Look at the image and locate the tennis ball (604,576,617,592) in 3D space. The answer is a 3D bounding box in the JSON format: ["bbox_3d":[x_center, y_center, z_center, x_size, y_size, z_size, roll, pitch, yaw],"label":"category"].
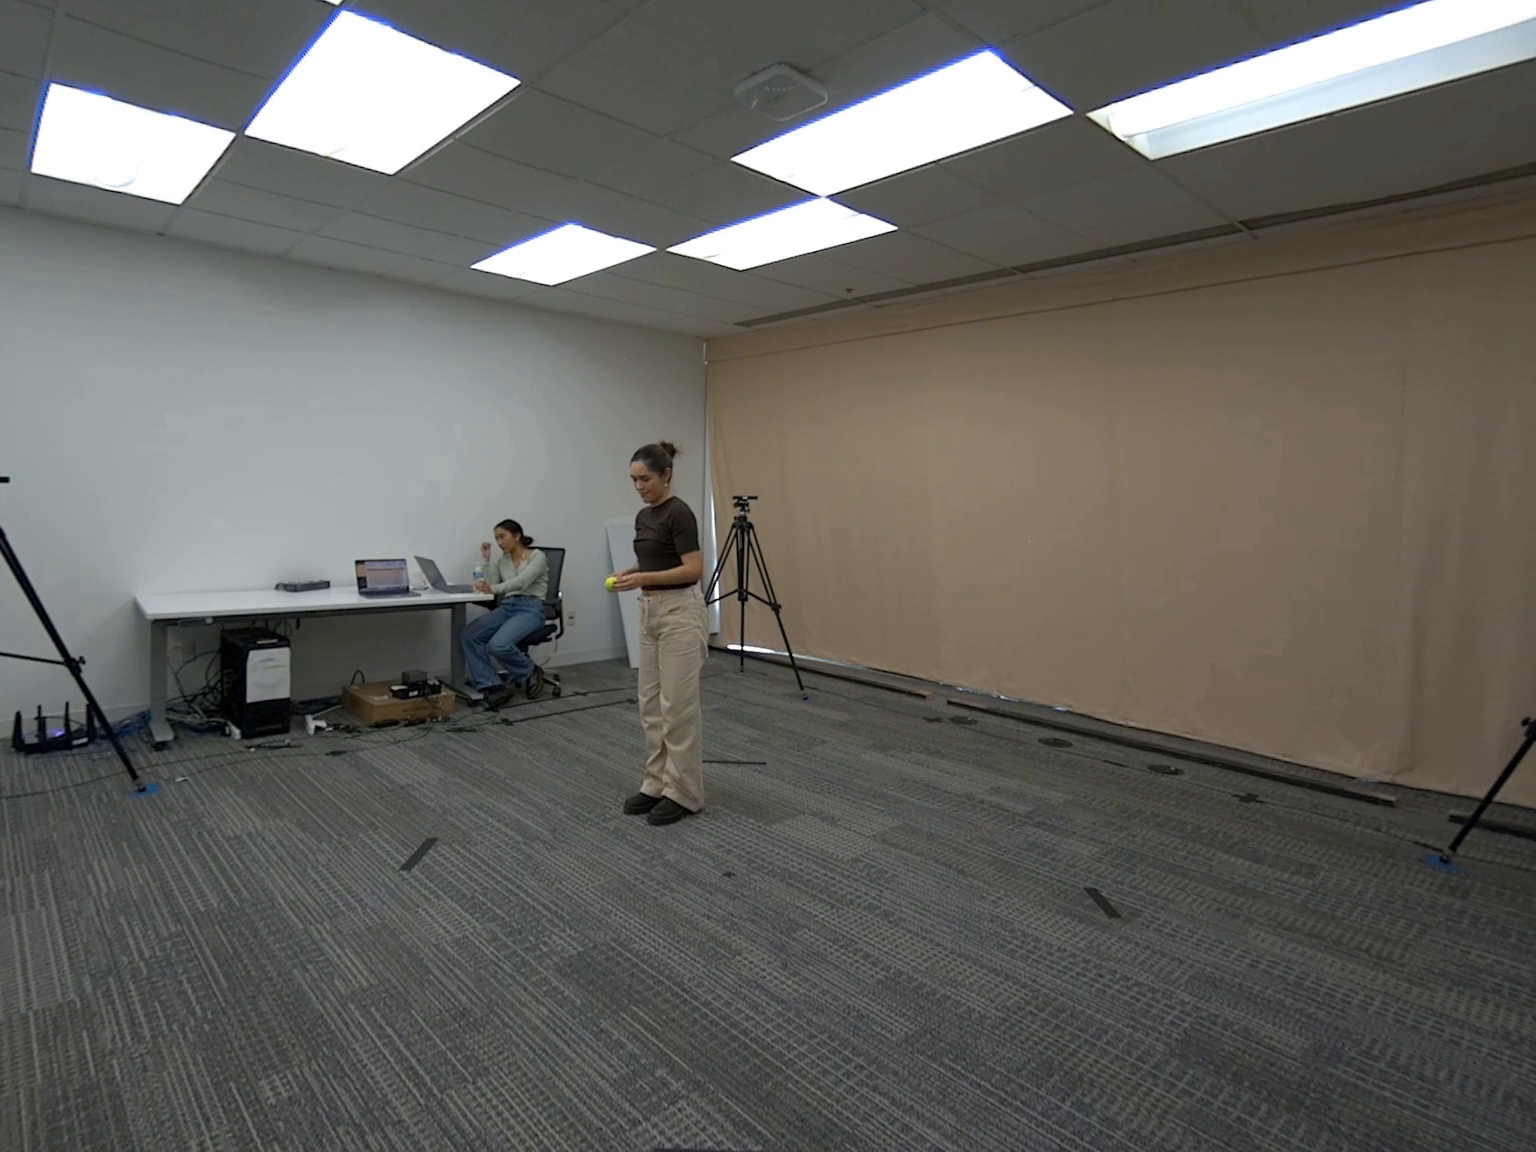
[{"bbox_3d":[-0.657,0.036,3.563,0.066,0.066,0.067,1,4,-1],"label":"tennis ball"}]
